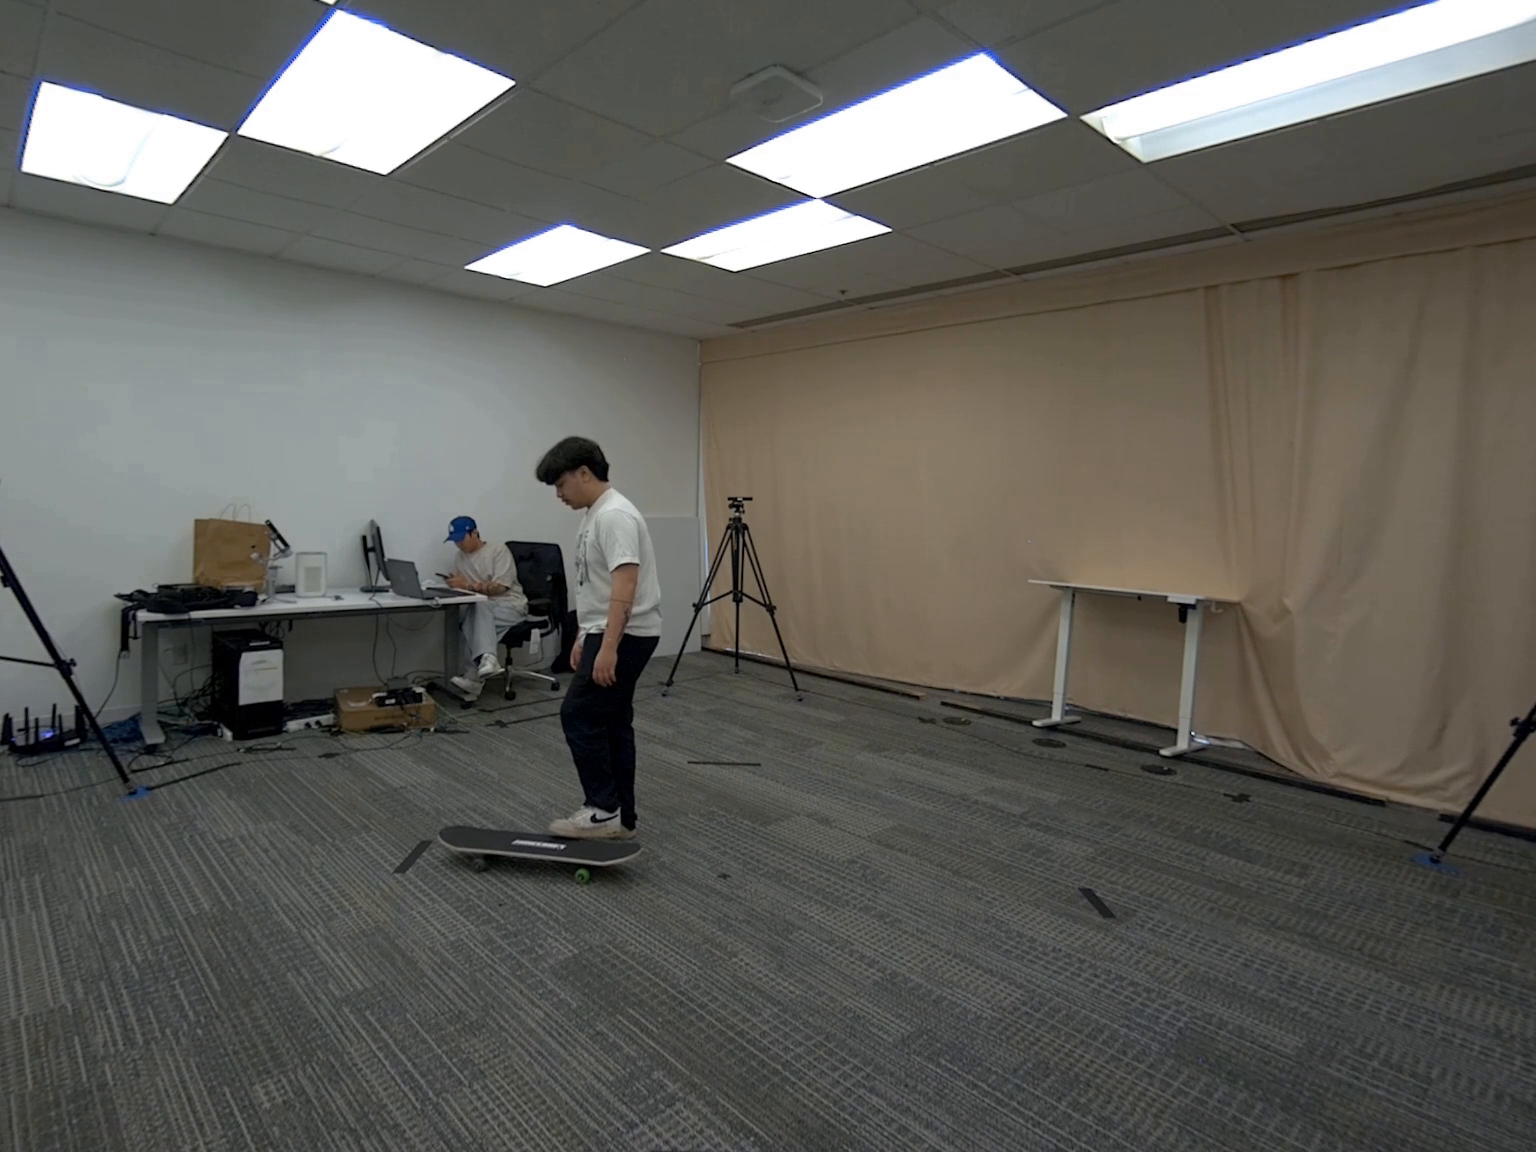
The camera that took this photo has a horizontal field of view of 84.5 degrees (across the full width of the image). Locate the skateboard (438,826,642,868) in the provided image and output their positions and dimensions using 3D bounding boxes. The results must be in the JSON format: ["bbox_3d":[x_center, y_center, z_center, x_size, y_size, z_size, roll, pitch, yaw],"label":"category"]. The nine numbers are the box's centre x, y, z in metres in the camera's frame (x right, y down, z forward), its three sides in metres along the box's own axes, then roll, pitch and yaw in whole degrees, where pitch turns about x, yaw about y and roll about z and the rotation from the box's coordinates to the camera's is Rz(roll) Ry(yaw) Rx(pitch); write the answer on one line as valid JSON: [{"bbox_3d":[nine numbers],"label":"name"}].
[{"bbox_3d":[-0.845,1.029,3.129,0.792,0.110,0.192,2,5,10],"label":"skateboard"}]
